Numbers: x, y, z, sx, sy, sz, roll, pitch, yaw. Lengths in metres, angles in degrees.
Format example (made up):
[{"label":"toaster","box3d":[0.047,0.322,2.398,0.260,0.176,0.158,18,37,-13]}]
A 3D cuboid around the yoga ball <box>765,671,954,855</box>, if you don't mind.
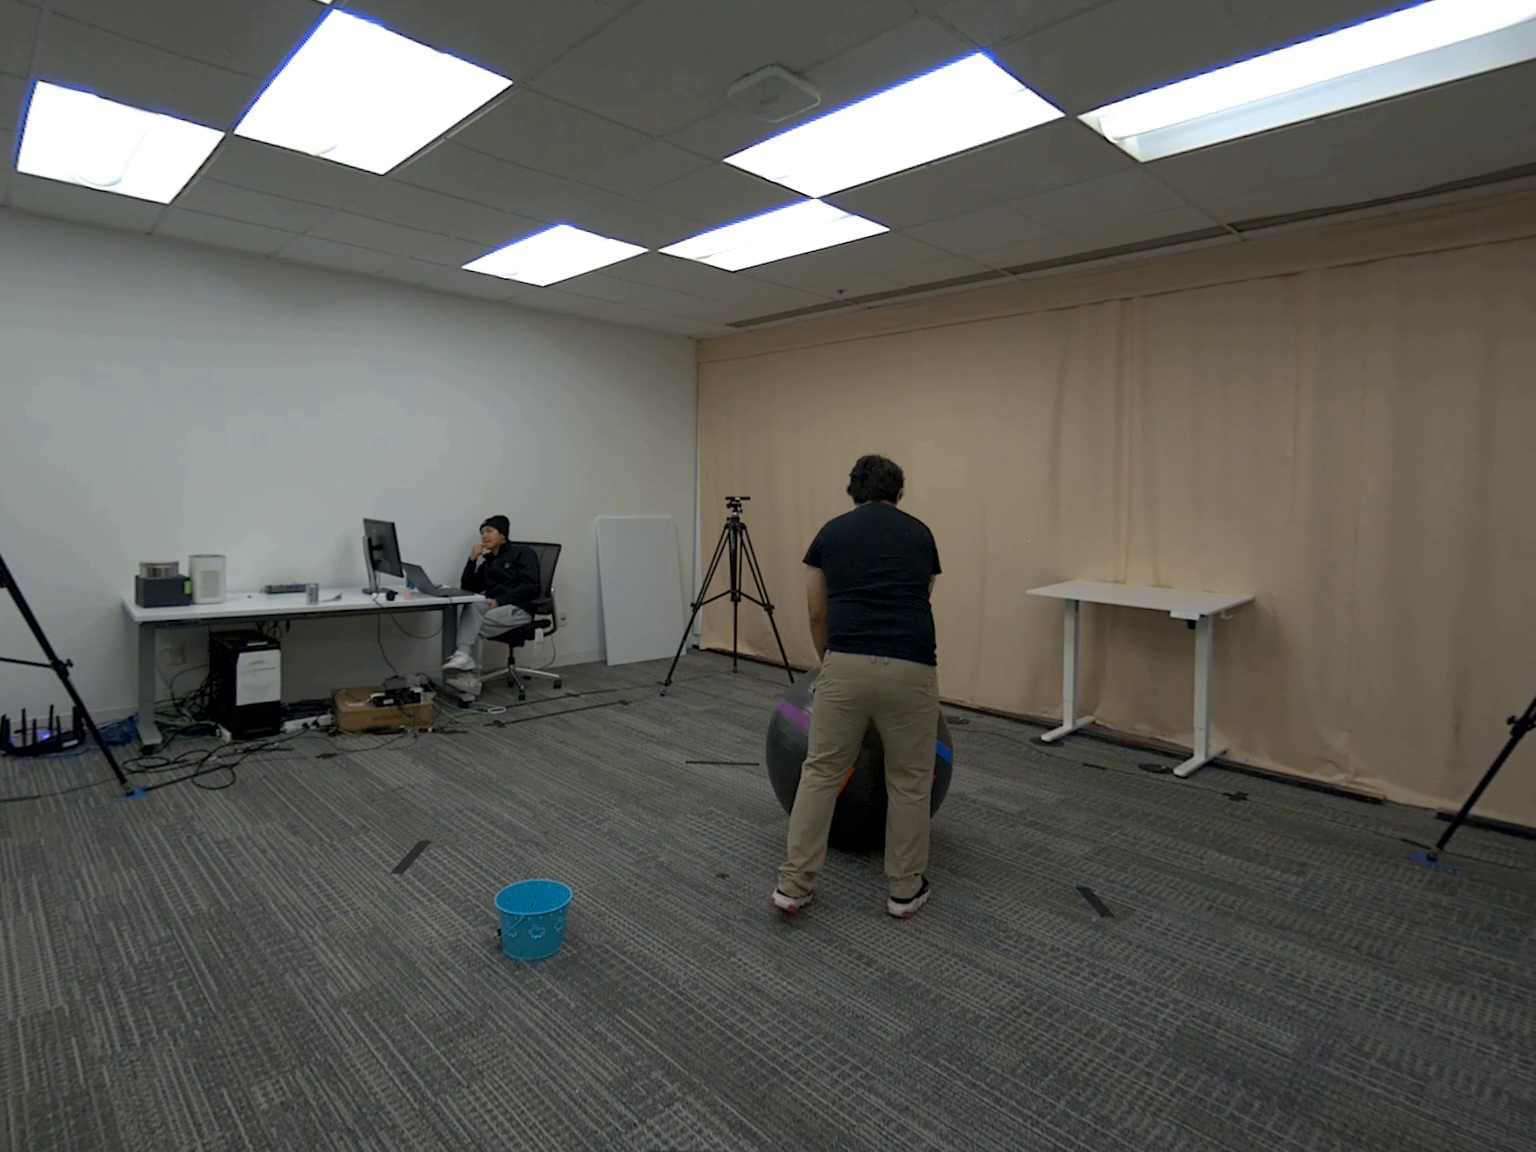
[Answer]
[{"label":"yoga ball","box3d":[0.371,0.728,3.455,0.757,0.756,0.761,1,4,-1]}]
